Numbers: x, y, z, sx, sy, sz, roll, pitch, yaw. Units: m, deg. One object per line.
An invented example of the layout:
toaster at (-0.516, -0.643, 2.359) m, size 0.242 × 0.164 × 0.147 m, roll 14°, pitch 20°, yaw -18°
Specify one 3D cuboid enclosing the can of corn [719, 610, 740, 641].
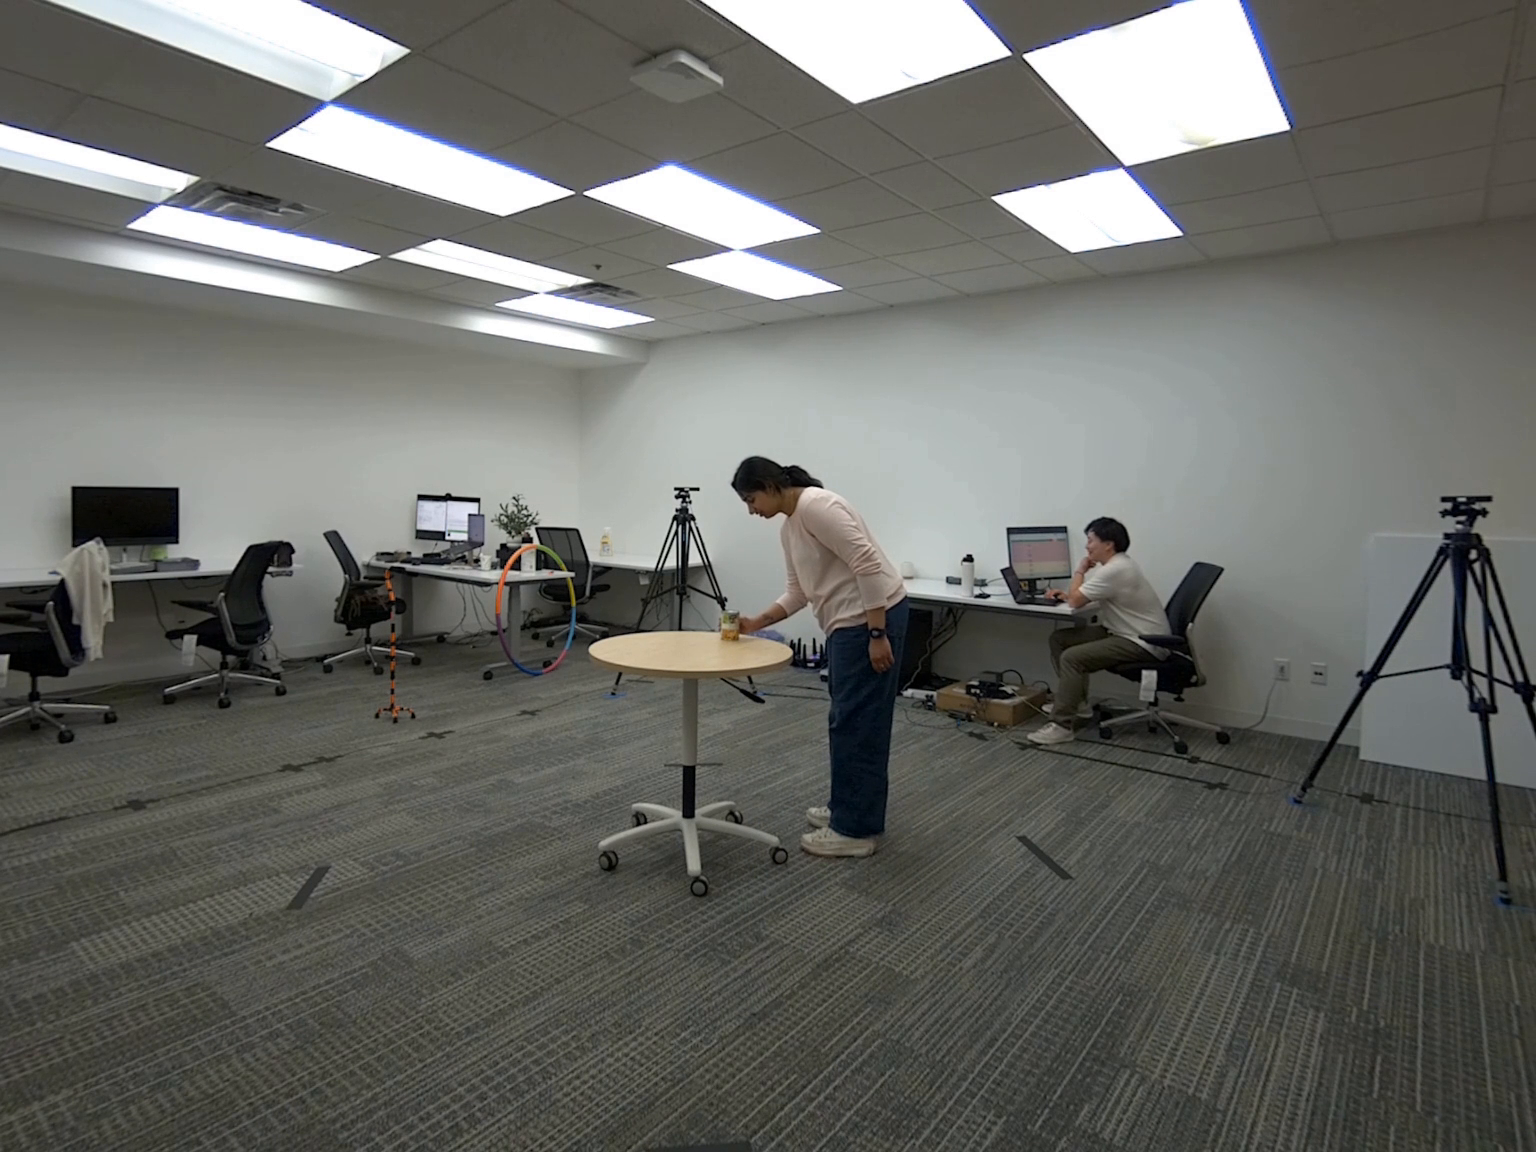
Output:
can of corn at (-0.162, 0.198, 3.434) m, size 0.074 × 0.111 × 0.074 m, roll 3°, pitch 2°, yaw -2°
